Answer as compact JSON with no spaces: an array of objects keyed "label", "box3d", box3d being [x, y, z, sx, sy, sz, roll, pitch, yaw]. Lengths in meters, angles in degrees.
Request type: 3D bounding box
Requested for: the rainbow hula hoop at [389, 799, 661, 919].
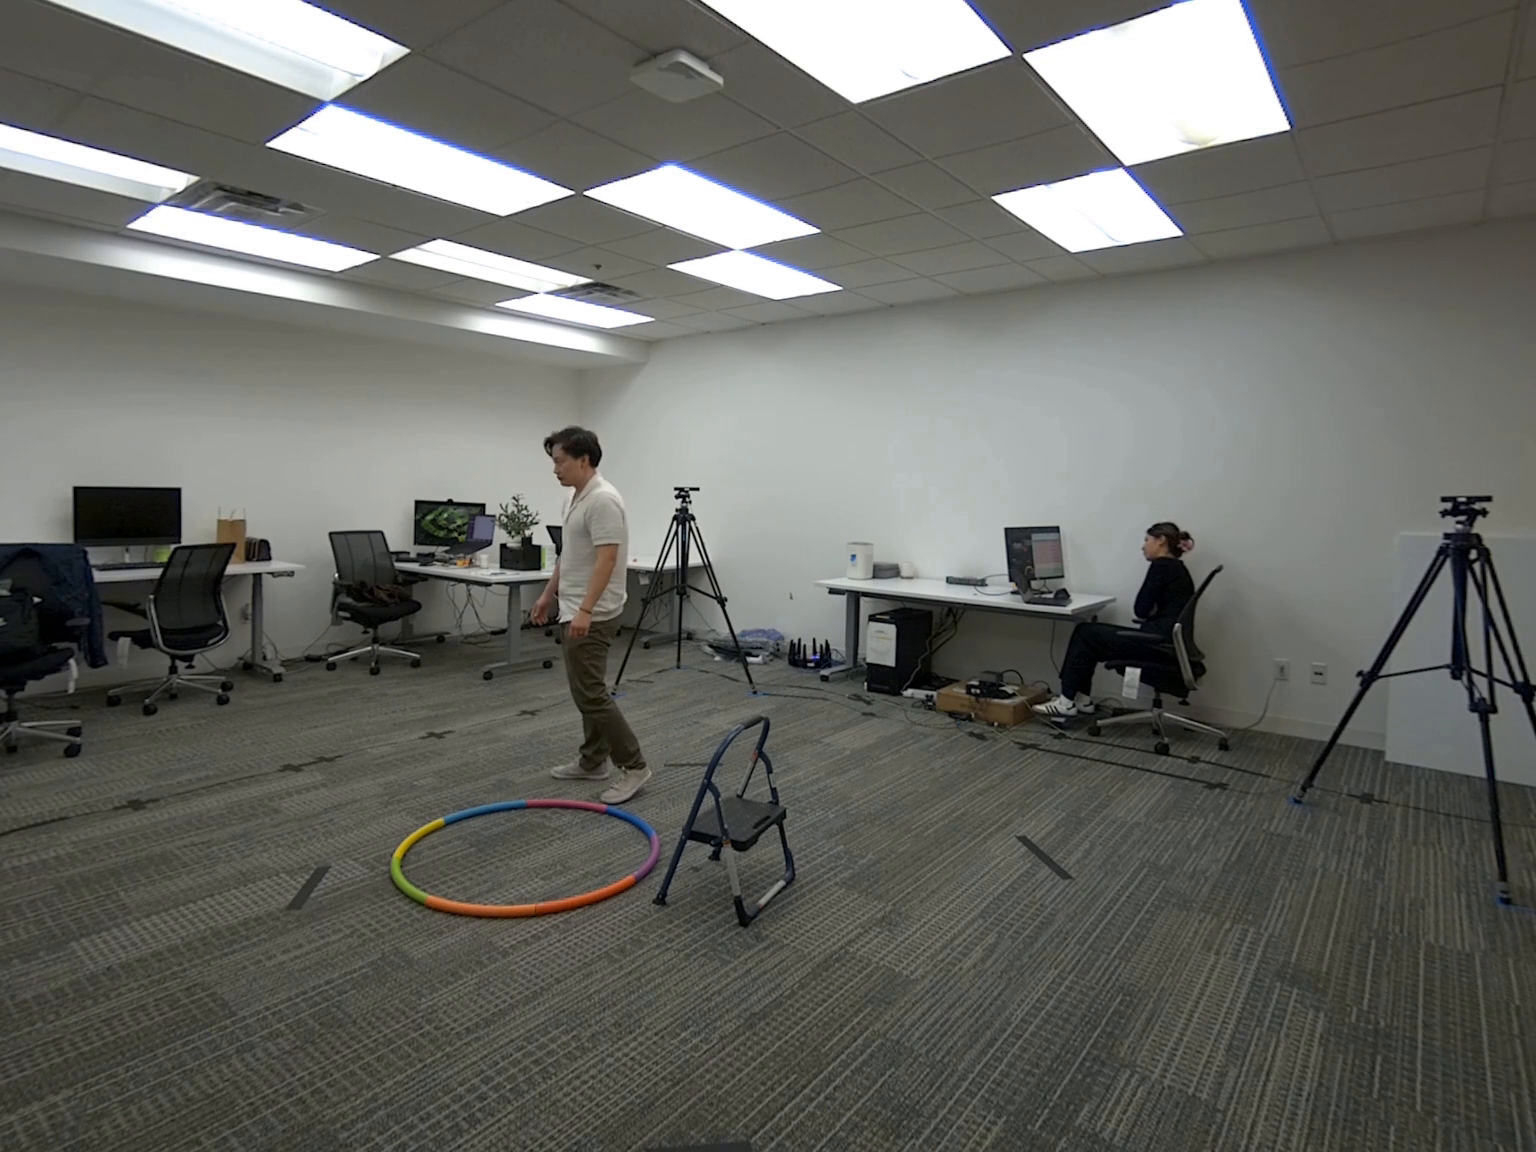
[{"label":"rainbow hula hoop","box3d":[-0.908,1.013,3.211,0.978,0.035,0.984,0,5,-2]}]
